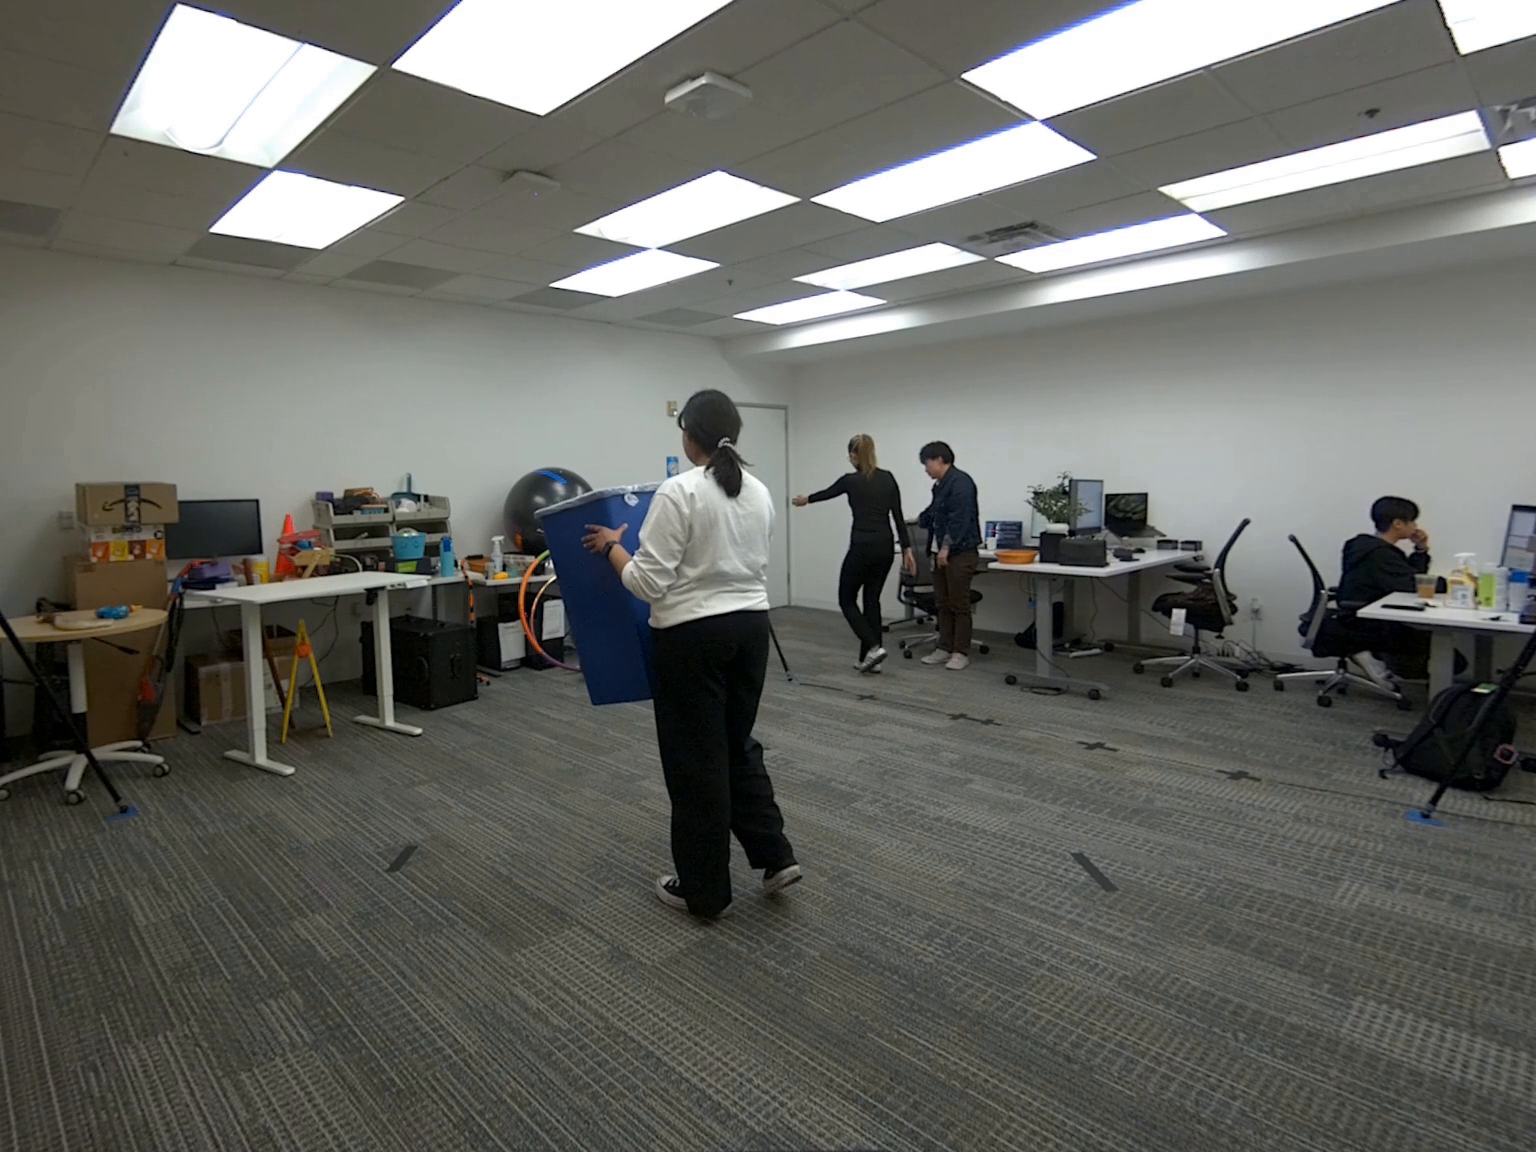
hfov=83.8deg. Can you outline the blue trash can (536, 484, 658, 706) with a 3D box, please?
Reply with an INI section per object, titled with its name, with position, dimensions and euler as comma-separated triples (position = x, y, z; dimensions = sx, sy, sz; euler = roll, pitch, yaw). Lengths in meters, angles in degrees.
[blue trash can]
position = -0.510, 0.062, 3.047
dimensions = 0.382, 0.713, 0.370
euler = -12, 1, 34
